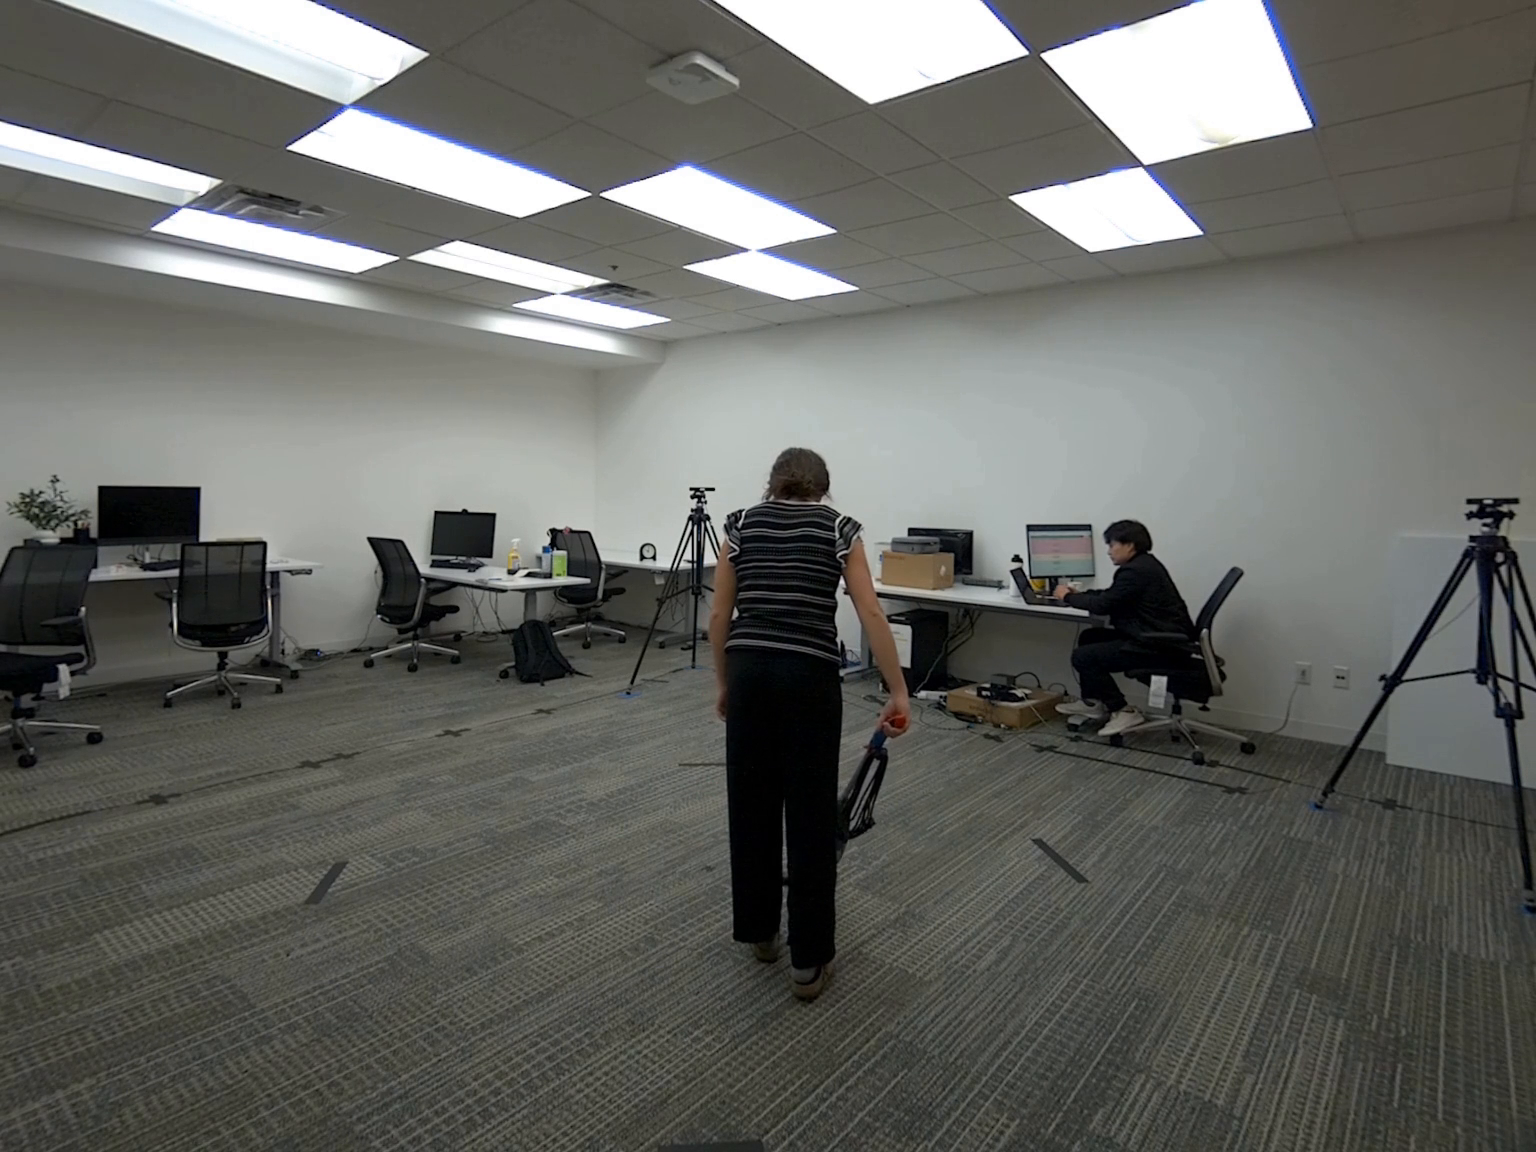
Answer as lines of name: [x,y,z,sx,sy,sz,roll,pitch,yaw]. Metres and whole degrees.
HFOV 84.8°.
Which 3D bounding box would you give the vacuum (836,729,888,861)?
vacuum: [0.236,0.729,2.643,0.249,0.148,1.030,5,-42,-13]
